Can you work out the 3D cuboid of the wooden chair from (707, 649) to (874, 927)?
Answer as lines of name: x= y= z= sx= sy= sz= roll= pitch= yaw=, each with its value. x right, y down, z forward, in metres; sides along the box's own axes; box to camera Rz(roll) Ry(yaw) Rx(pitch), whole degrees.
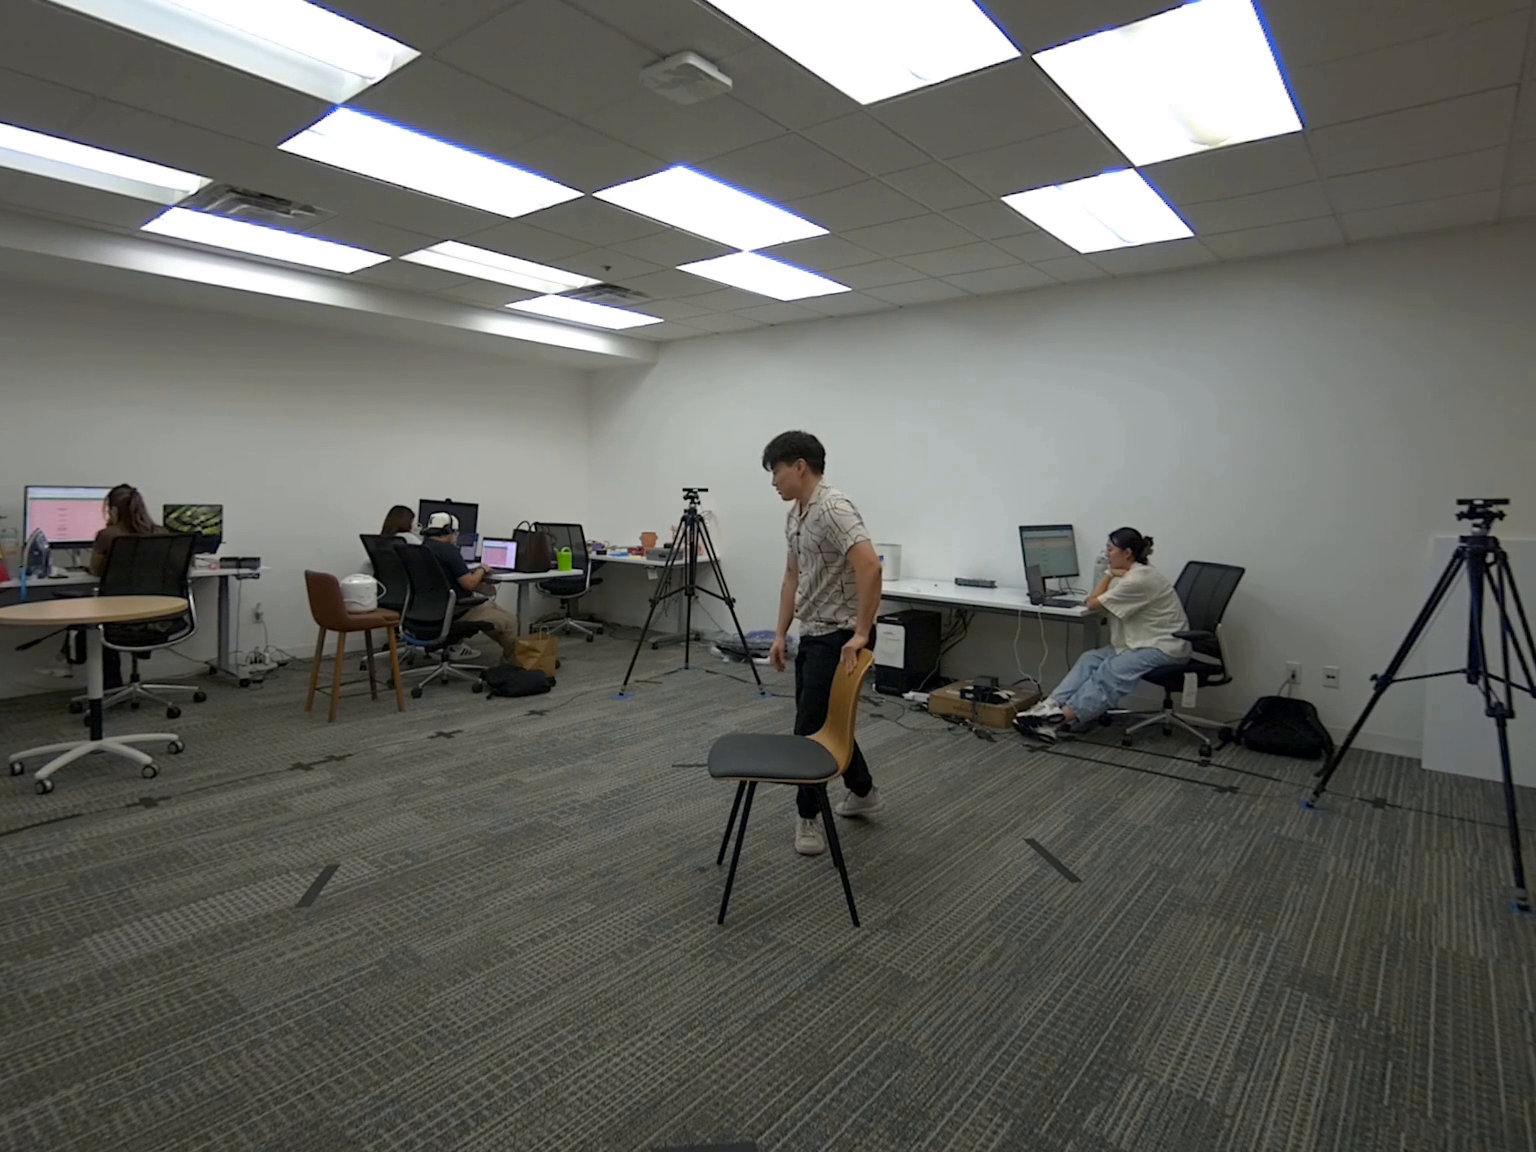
wooden chair: x=0.047 y=0.668 z=2.907 sx=0.522 sy=0.875 sz=0.480 roll=5 pitch=4 yaw=-2
